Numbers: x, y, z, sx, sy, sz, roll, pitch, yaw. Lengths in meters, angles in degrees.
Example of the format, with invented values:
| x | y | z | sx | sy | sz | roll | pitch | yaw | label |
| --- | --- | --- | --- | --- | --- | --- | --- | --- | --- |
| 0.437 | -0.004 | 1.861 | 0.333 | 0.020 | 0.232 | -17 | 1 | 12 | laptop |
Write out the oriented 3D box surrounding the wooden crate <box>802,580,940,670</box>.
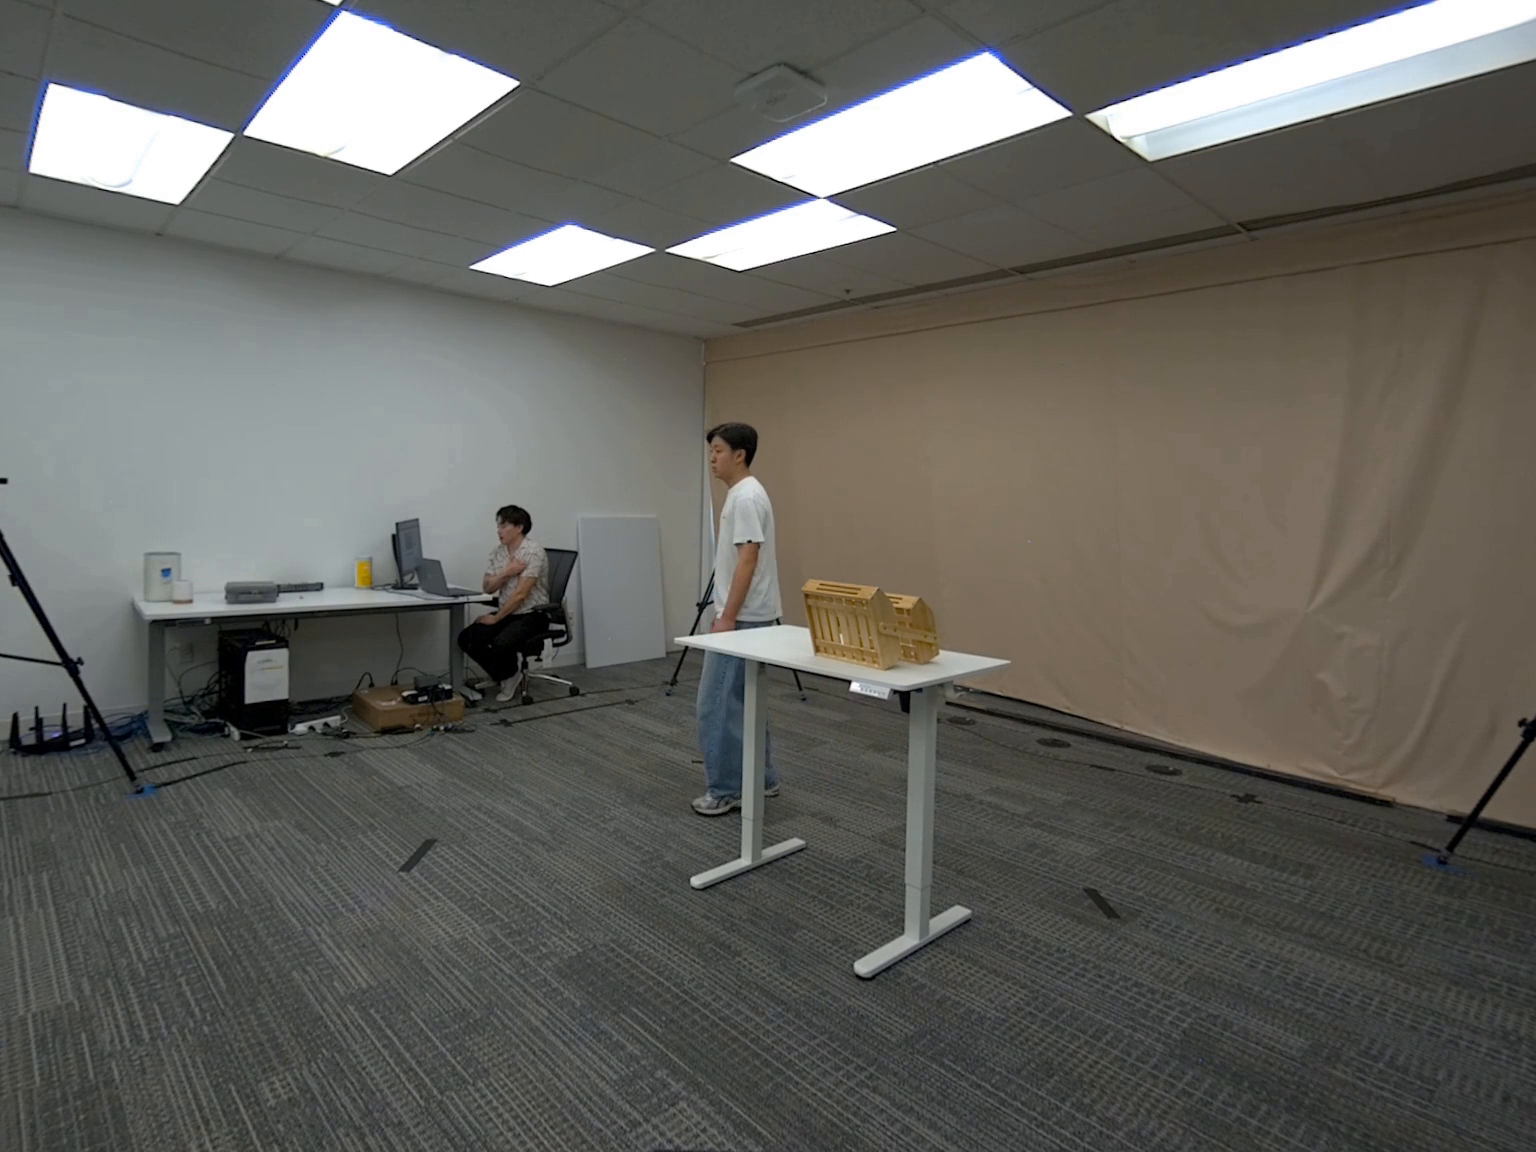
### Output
| x | y | z | sx | sy | sz | roll | pitch | yaw | label |
| --- | --- | --- | --- | --- | --- | --- | --- | --- | --- |
| 0.324 | 0.139 | 2.695 | 0.269 | 0.298 | 0.333 | -22 | 17 | -36 | wooden crate |
